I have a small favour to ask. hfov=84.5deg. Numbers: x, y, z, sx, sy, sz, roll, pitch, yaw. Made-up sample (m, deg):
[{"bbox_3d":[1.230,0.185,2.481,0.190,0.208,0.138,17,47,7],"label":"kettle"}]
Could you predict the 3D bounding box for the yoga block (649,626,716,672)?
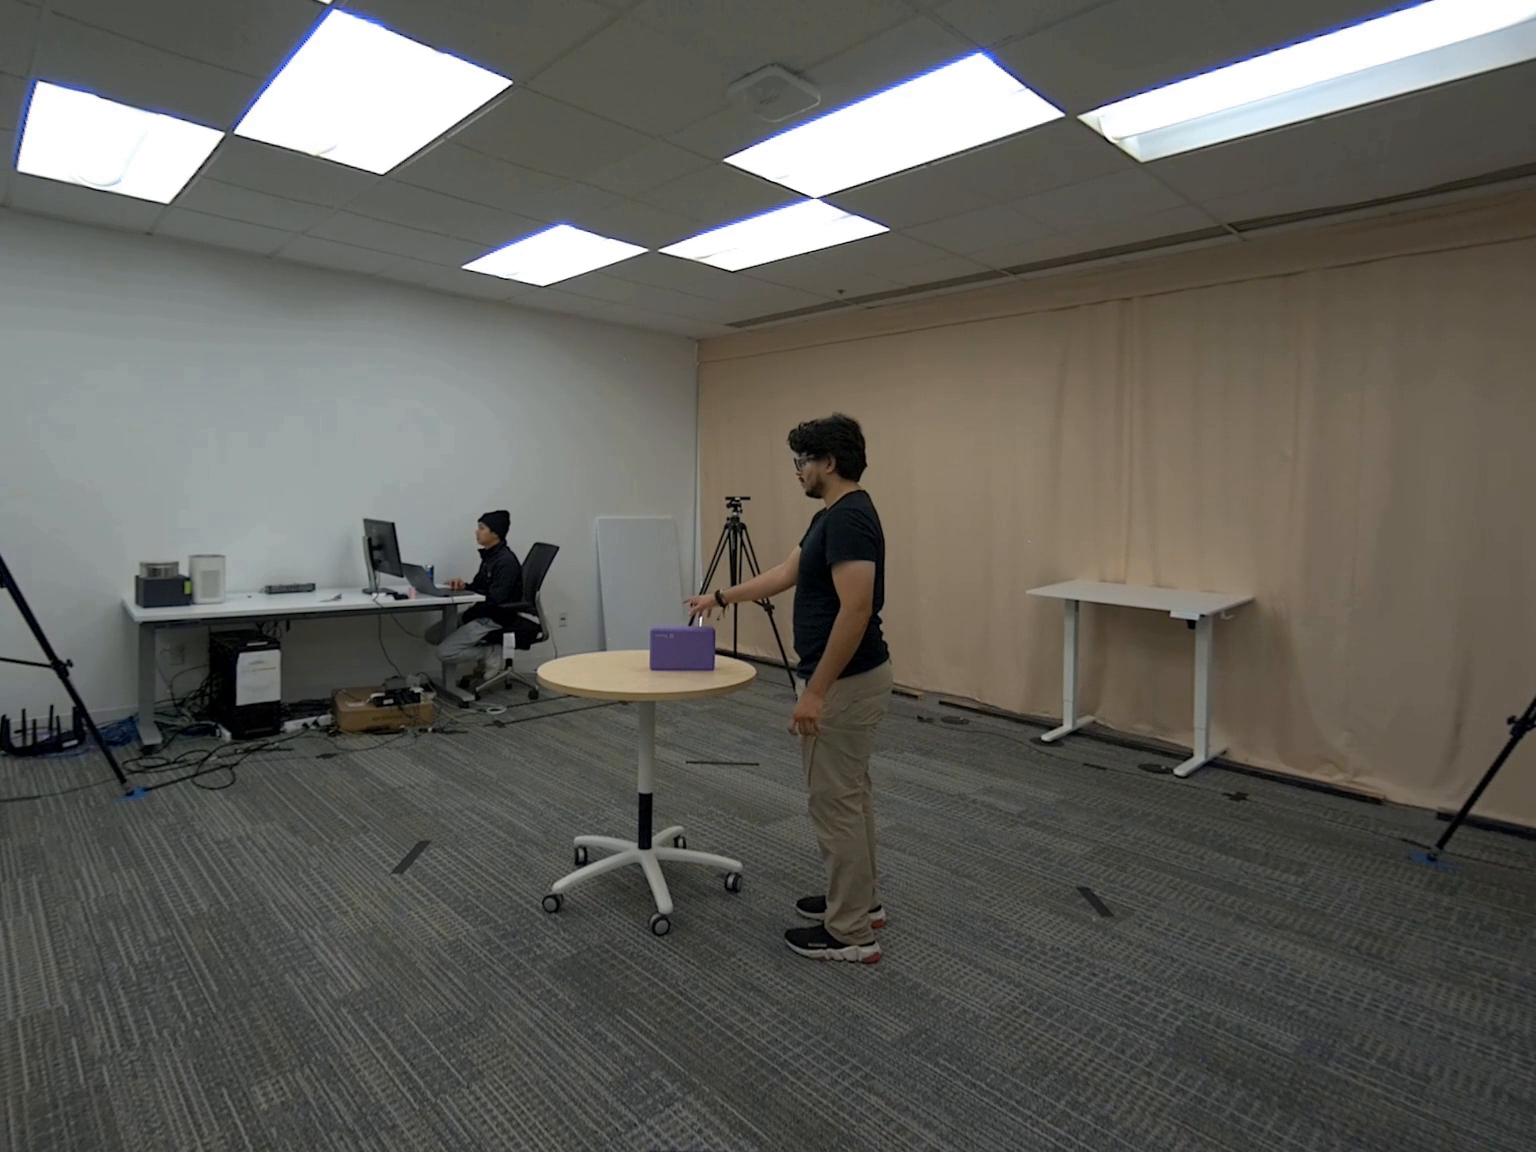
[{"bbox_3d":[-0.312,0.256,2.974,0.229,0.148,0.077,1,4,-1],"label":"yoga block"}]
